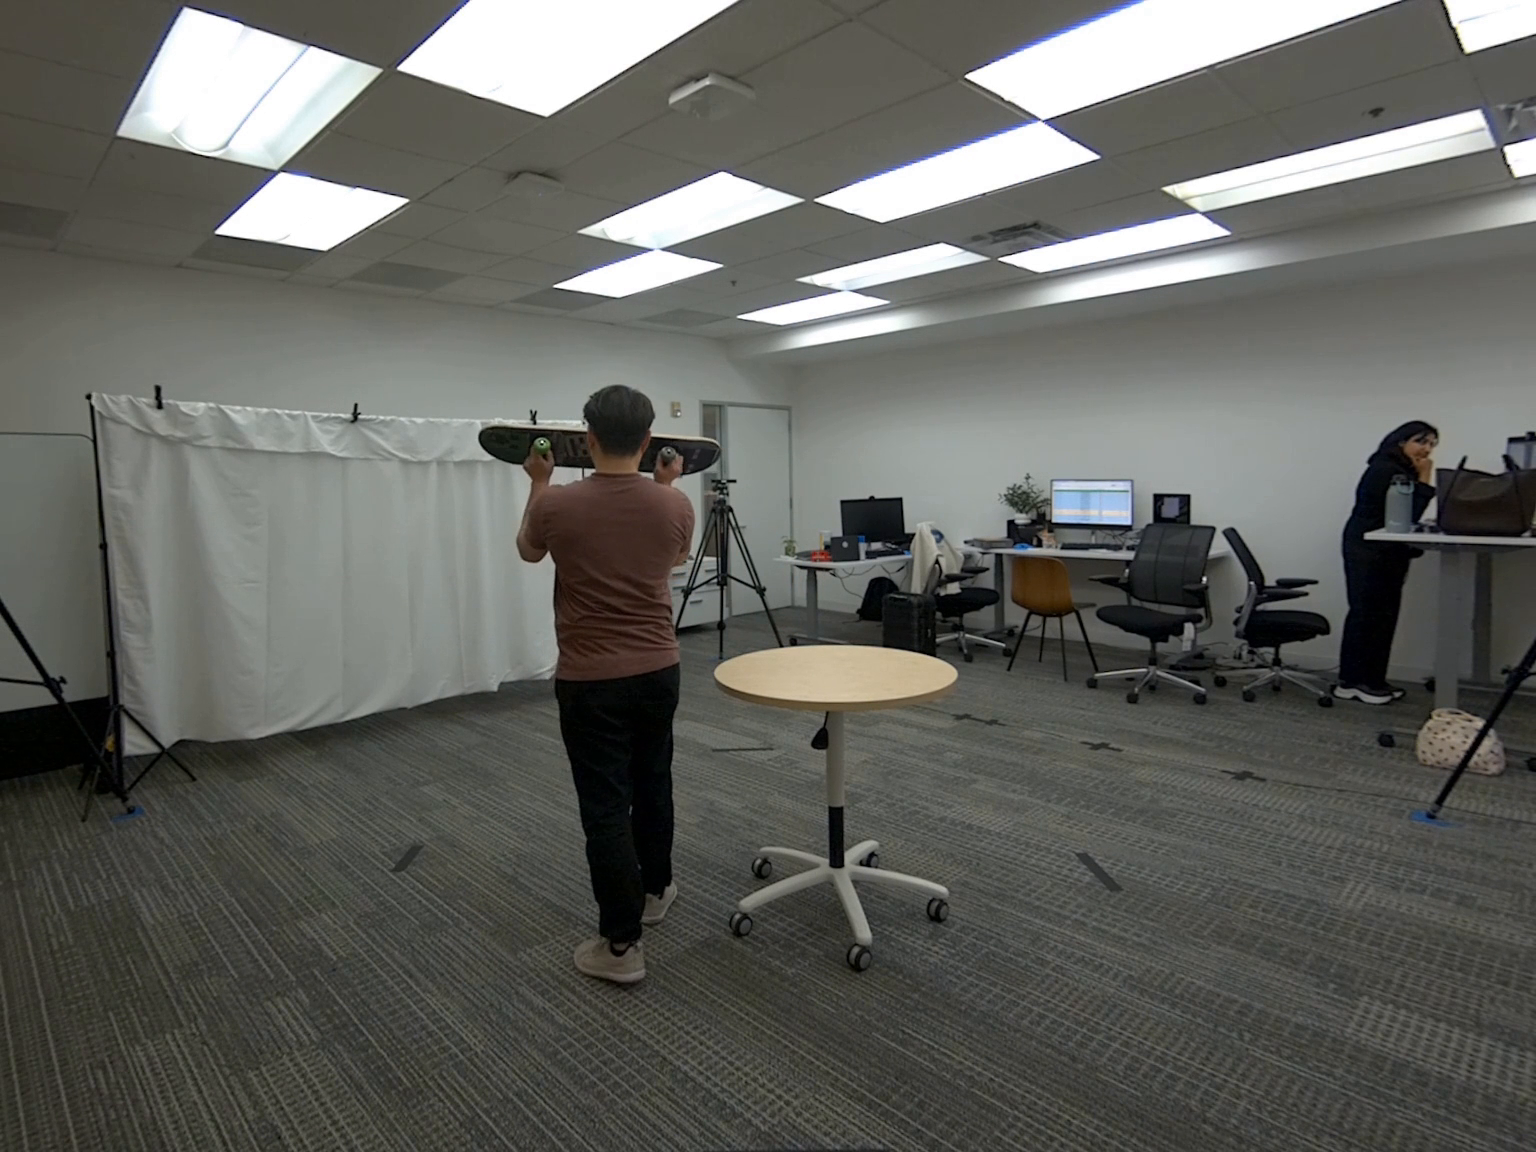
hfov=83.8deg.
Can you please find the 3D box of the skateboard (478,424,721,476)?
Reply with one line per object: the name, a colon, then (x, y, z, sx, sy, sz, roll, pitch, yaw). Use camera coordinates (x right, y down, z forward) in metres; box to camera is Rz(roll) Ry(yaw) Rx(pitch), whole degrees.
skateboard: (-0.537, -0.374, 2.768, 0.775, 0.113, 0.190, 2, -36, -13)
